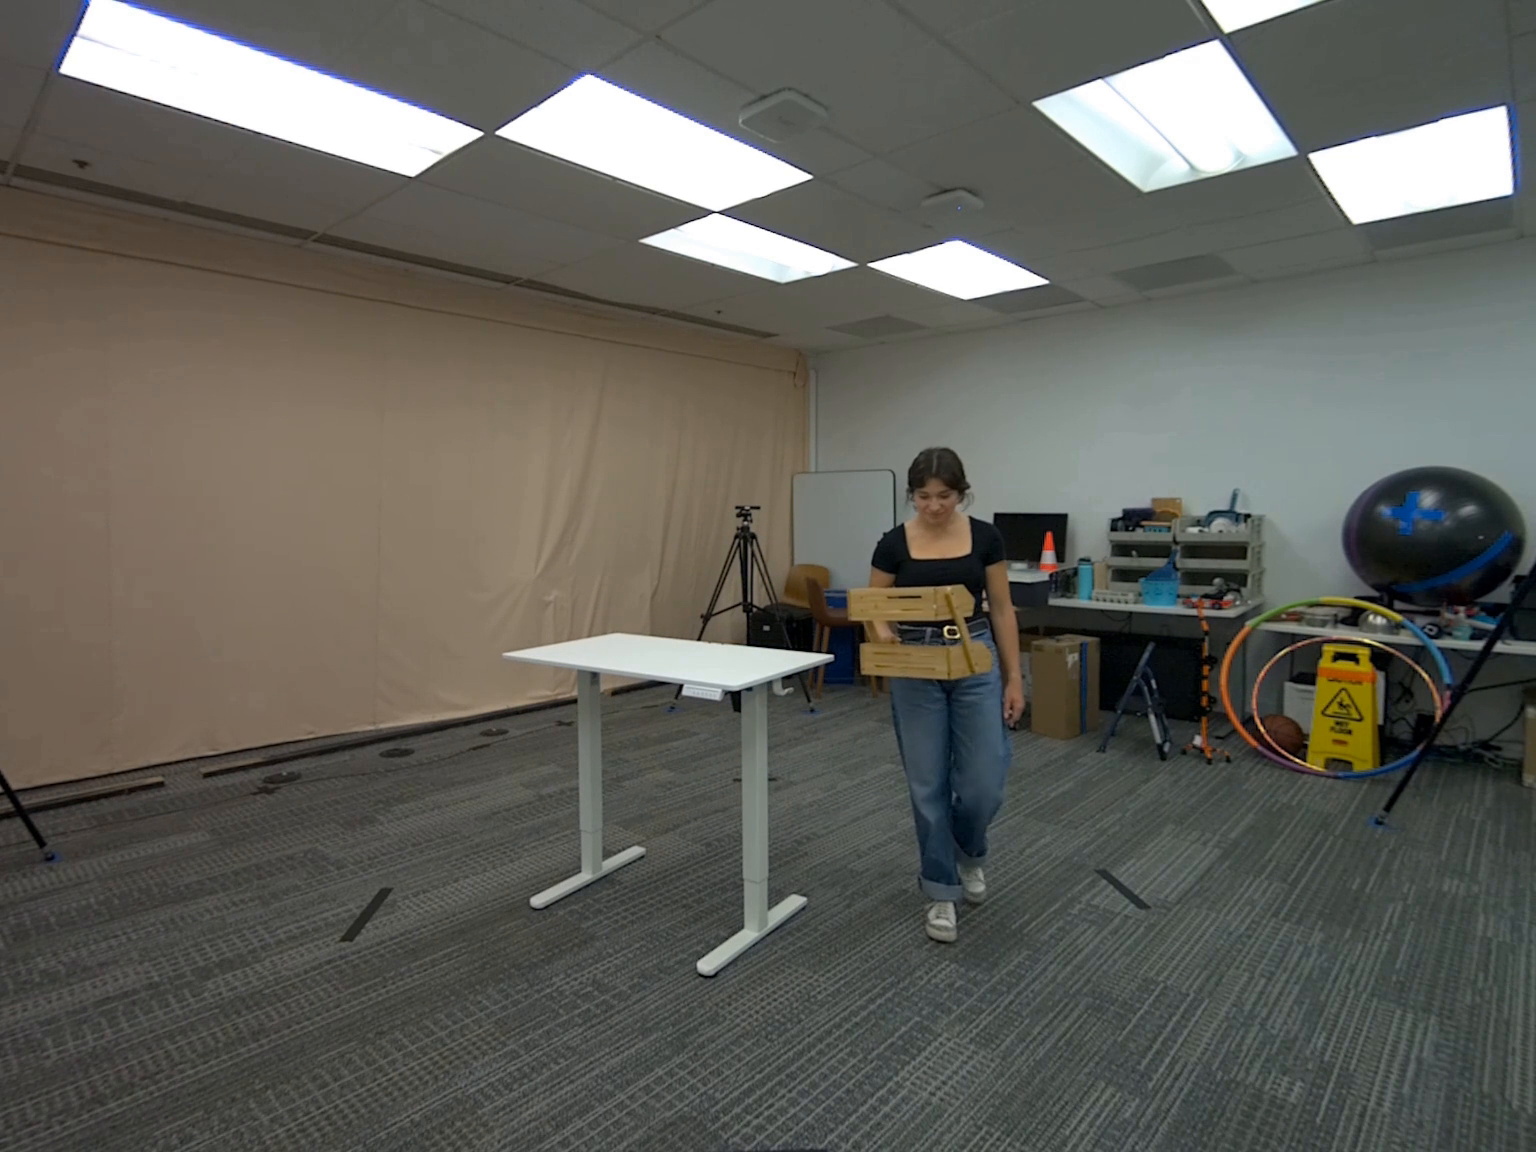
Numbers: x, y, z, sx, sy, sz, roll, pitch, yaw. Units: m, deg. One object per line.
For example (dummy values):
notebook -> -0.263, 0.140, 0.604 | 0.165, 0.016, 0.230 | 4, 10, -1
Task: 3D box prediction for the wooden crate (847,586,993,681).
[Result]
wooden crate -> 0.456, 0.158, 2.517 | 0.334, 0.273, 0.292 | -4, -1, 43
